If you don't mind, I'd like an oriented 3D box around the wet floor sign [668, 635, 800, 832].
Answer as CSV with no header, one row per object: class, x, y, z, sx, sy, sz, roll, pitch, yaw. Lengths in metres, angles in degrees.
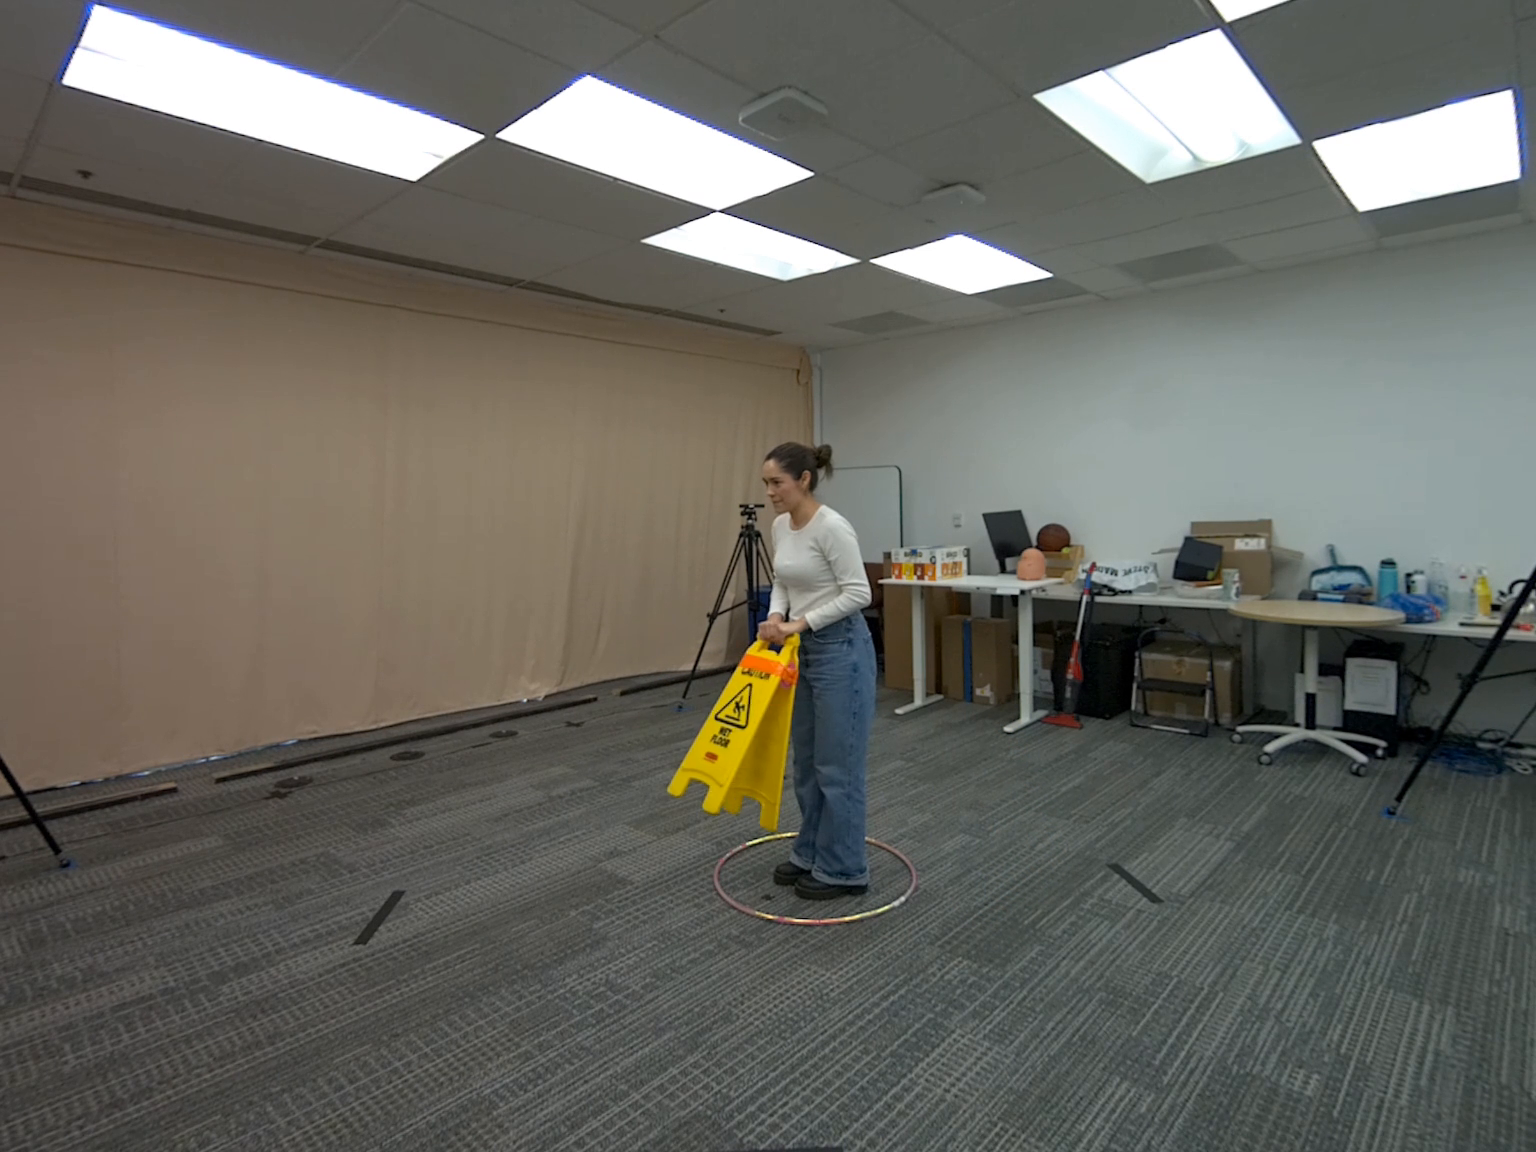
wet floor sign,-0.038,0.495,2.893,0.280,0.648,0.291,26,-14,-35
